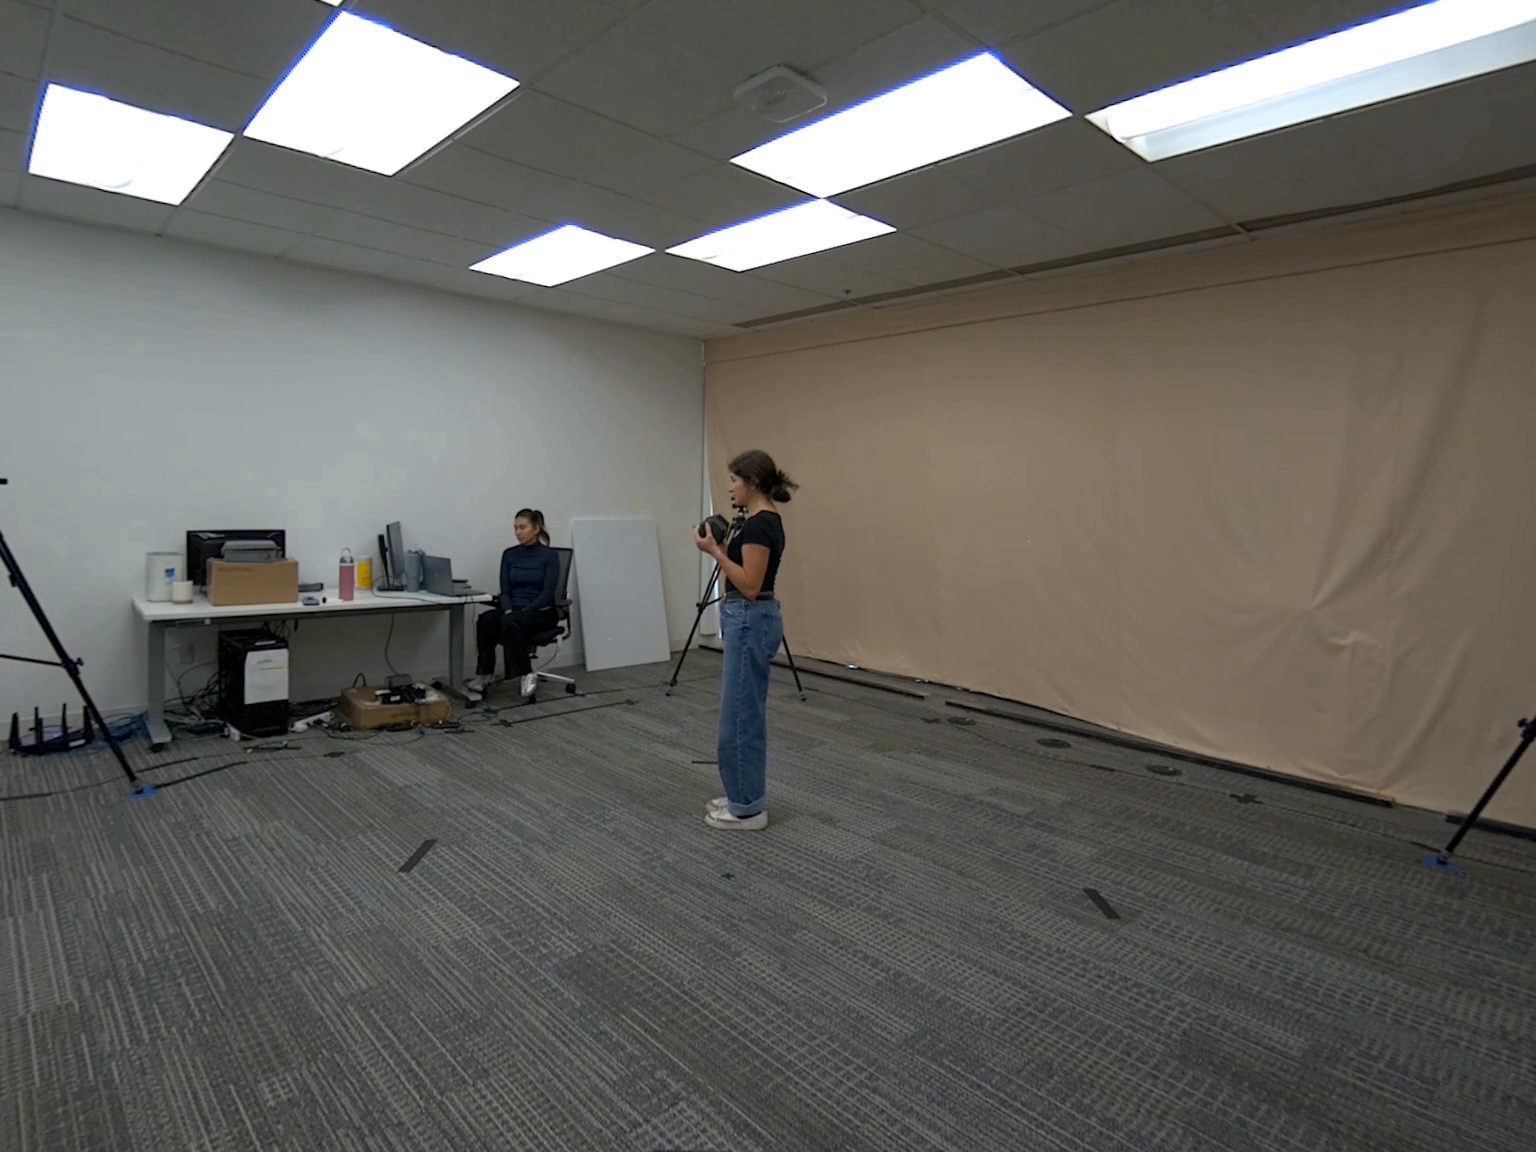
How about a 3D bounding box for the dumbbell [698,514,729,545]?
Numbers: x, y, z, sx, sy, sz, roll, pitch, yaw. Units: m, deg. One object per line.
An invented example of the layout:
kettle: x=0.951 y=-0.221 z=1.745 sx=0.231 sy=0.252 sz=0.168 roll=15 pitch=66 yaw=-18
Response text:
dumbbell: x=-0.244 y=-0.195 z=3.632 sx=0.108 sy=0.122 sz=0.295 roll=15 pitch=7 yaw=-3
